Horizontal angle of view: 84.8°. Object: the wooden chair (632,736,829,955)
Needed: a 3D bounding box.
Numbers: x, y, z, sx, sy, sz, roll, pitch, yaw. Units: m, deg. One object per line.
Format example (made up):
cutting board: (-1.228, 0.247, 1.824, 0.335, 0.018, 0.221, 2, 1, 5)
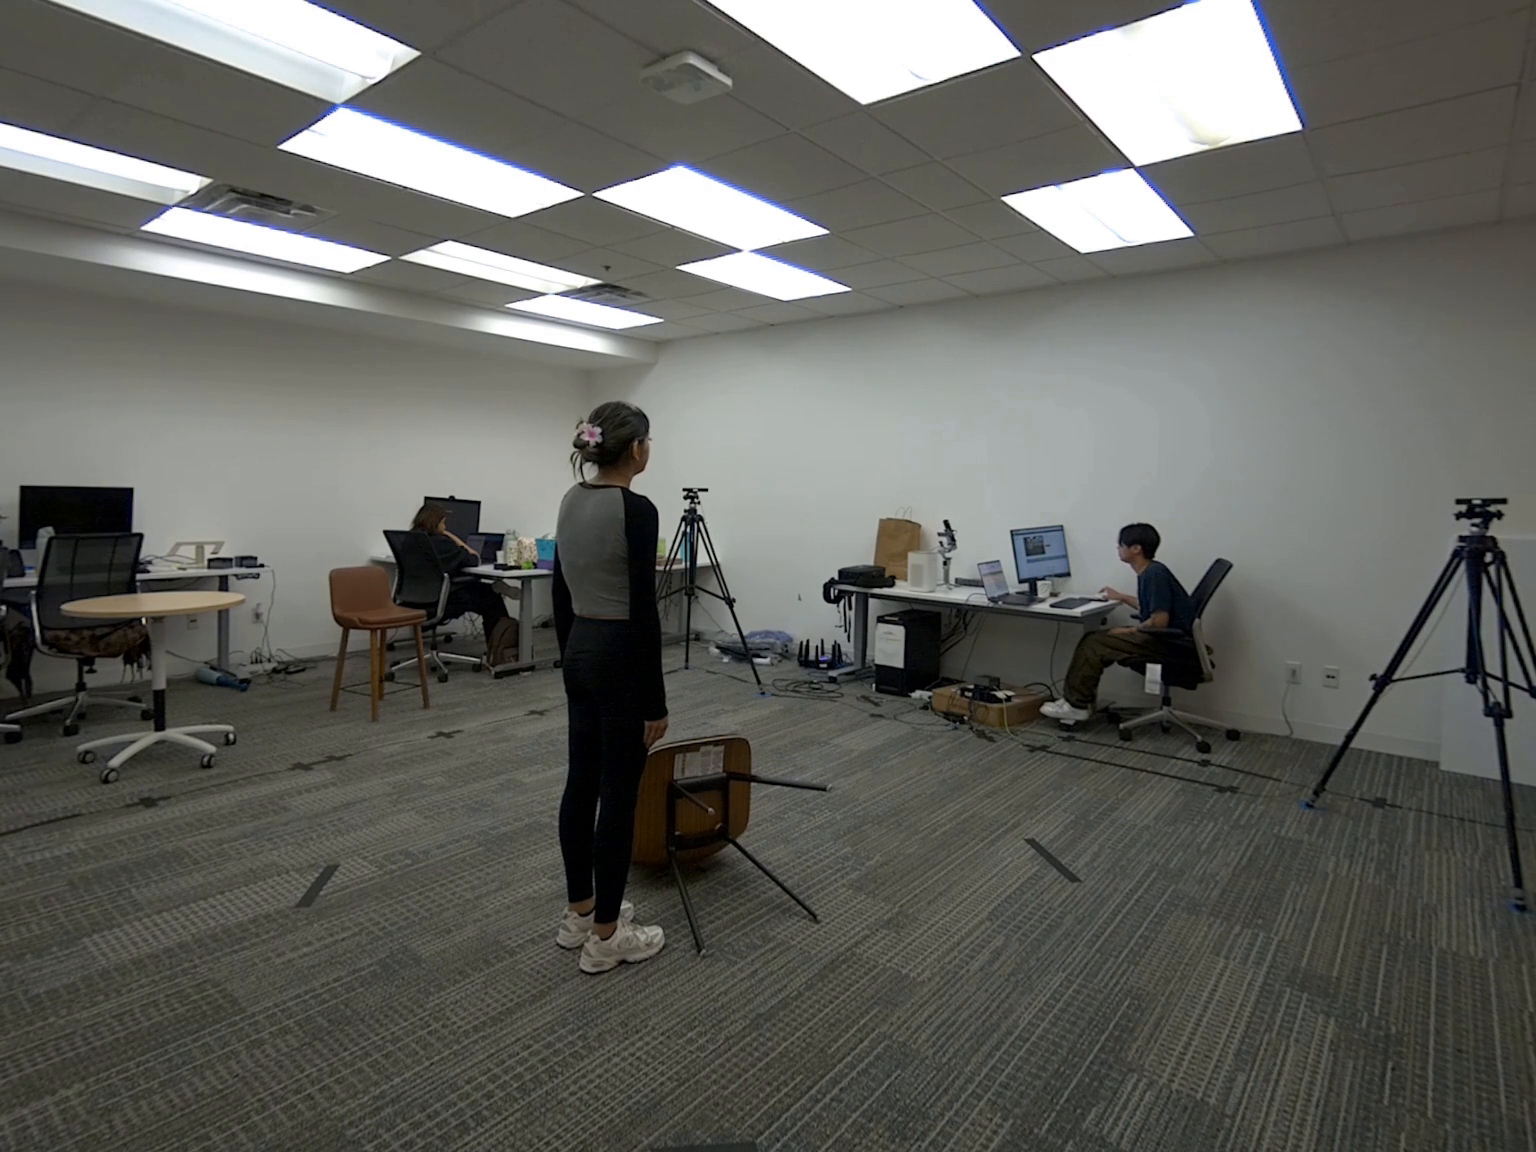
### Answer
wooden chair: (-0.247, 0.820, 2.971, 0.465, 0.522, 0.904, -1, 4, -33)
